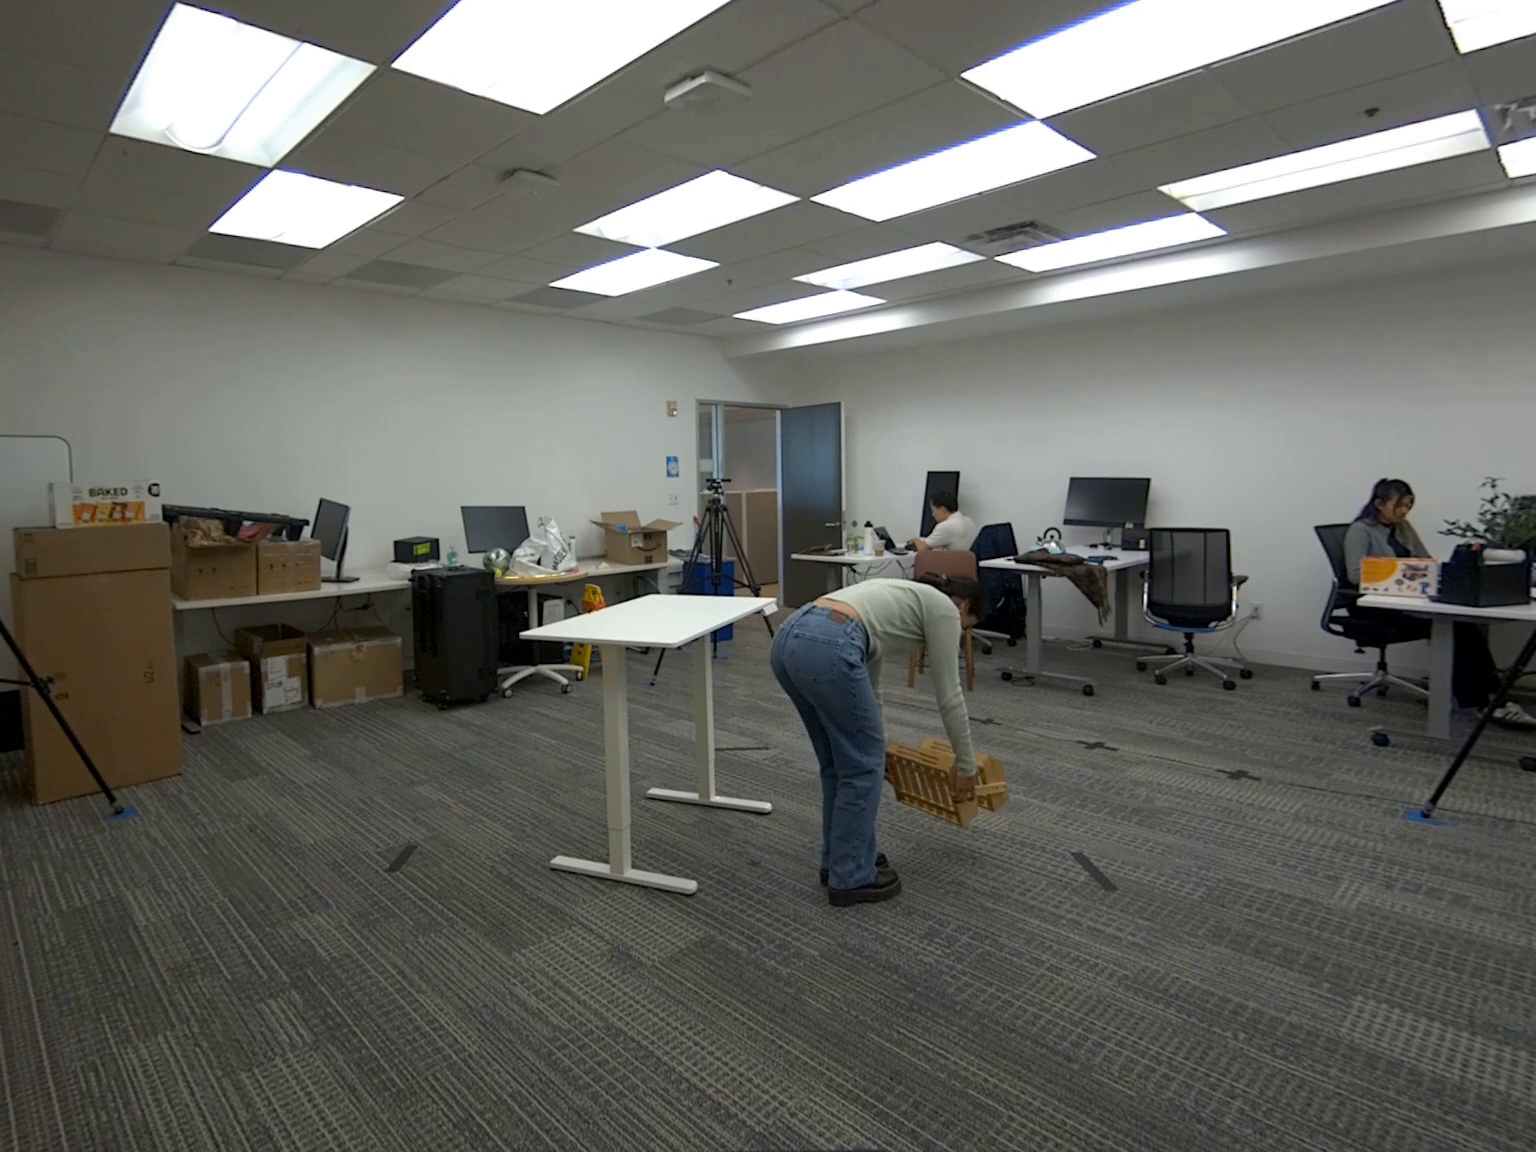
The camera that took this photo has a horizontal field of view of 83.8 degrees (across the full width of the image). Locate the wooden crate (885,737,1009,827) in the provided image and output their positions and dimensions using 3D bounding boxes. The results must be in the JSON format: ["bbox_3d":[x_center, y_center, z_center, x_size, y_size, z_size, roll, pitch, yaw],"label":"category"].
[{"bbox_3d":[0.653,0.709,3.111,0.270,0.296,0.334,-29,21,-33],"label":"wooden crate"}]
